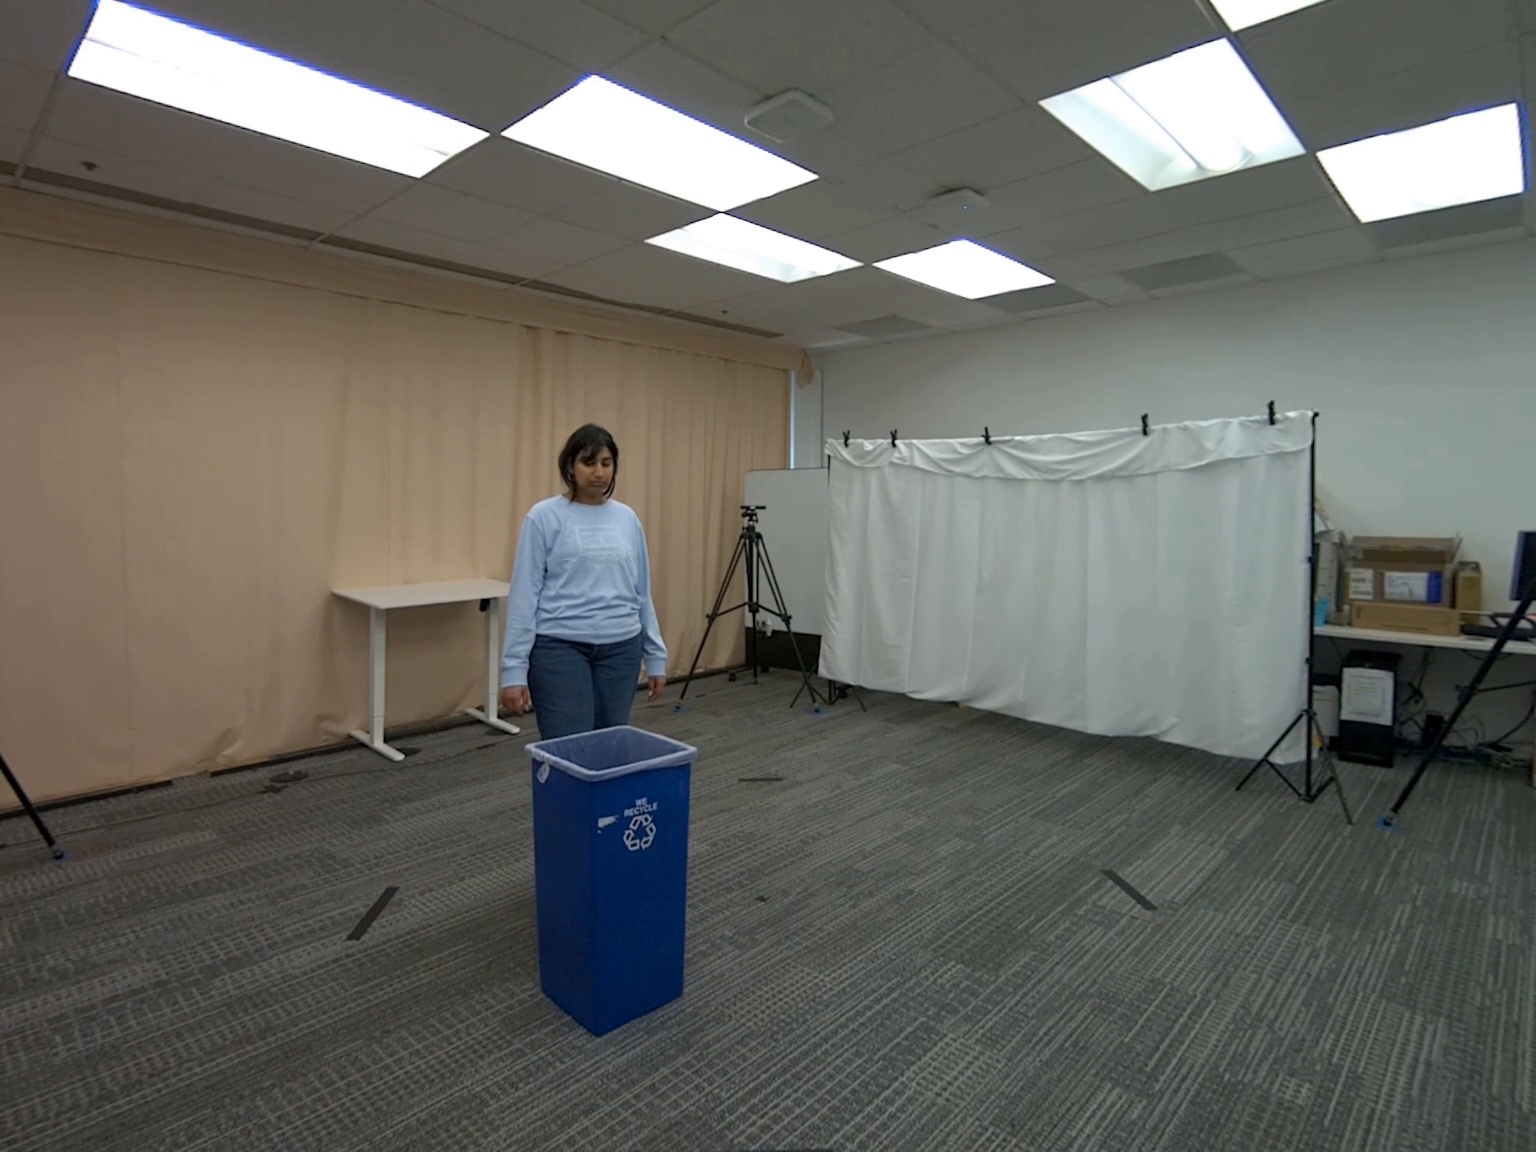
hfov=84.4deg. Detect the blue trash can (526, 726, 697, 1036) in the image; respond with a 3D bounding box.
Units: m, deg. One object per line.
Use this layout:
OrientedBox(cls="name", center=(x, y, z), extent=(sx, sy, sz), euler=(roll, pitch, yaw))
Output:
OrientedBox(cls="blue trash can", center=(-0.435, 0.841, 2.392), extent=(0.366, 0.712, 0.386), euler=(-2, 3, -44))
